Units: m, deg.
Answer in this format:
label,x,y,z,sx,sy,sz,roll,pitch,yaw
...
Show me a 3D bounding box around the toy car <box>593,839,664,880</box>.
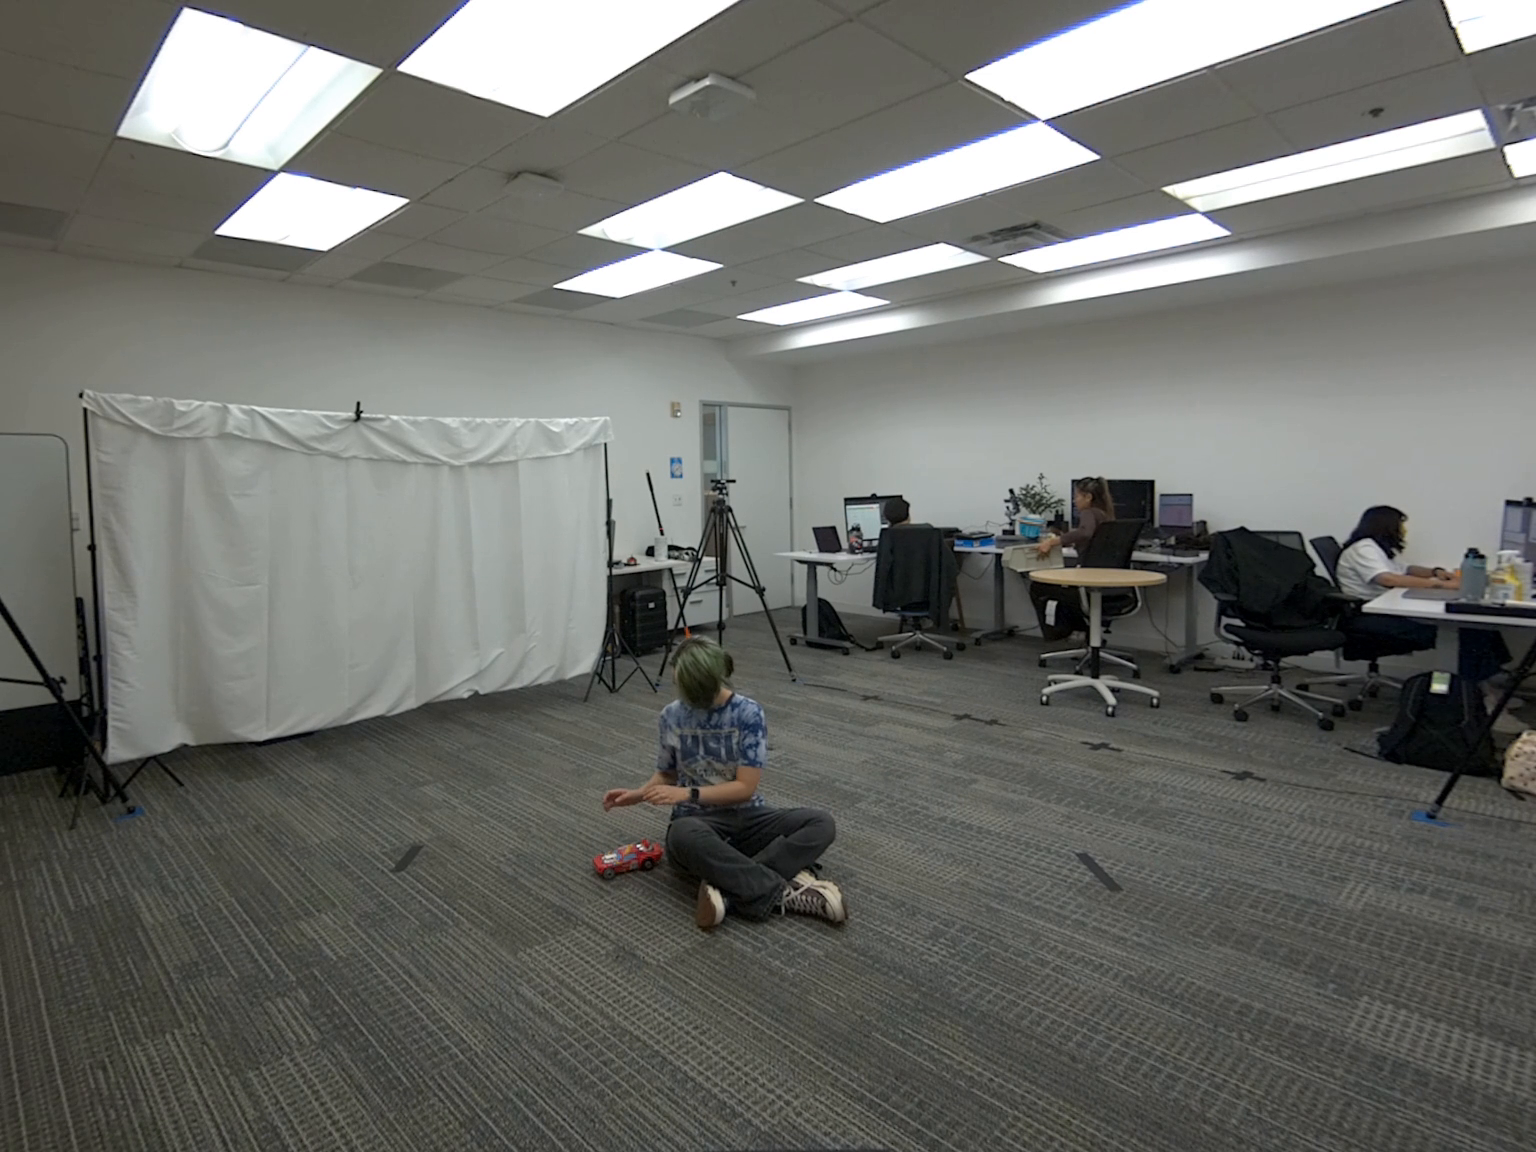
label,x,y,z,sx,sy,sz,roll,pitch,yaw
toy car,-0.496,1.026,3.086,0.251,0.082,0.133,-16,11,-23
